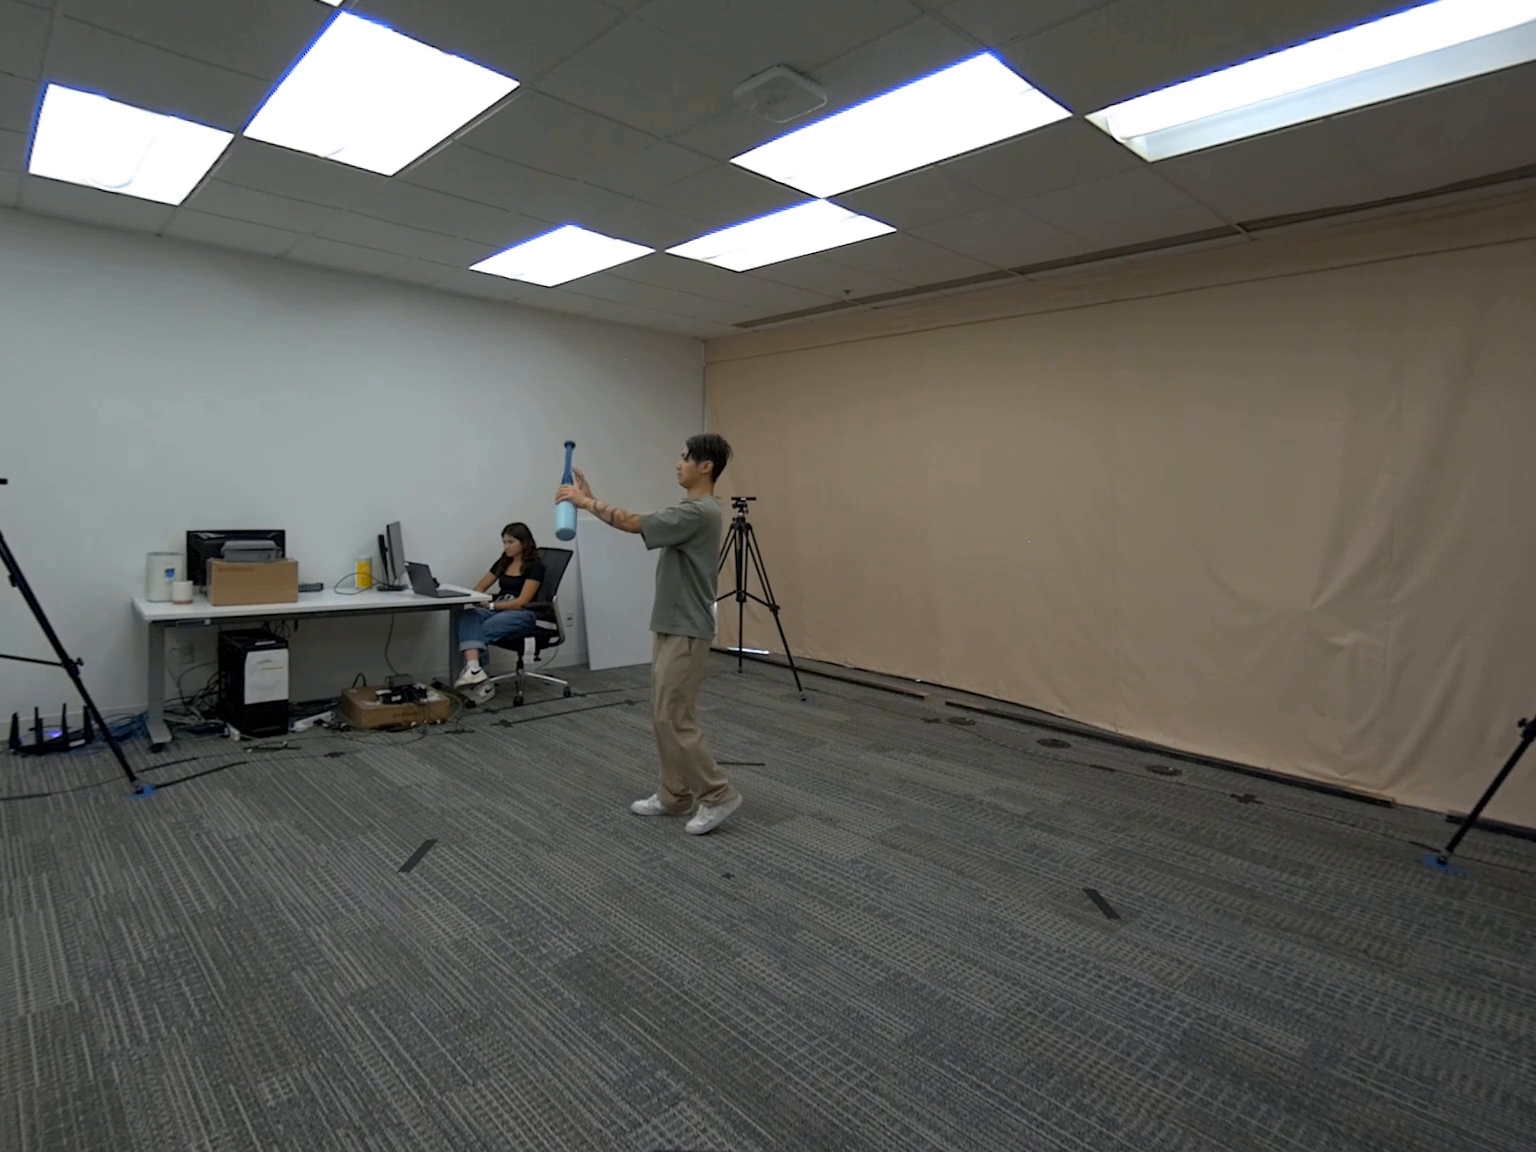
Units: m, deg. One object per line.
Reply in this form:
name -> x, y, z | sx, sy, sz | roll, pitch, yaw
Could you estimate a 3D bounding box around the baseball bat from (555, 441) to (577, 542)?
baseball bat -> -0.858, -0.376, 3.573 | 0.089, 0.557, 0.087 | -5, -39, -6
